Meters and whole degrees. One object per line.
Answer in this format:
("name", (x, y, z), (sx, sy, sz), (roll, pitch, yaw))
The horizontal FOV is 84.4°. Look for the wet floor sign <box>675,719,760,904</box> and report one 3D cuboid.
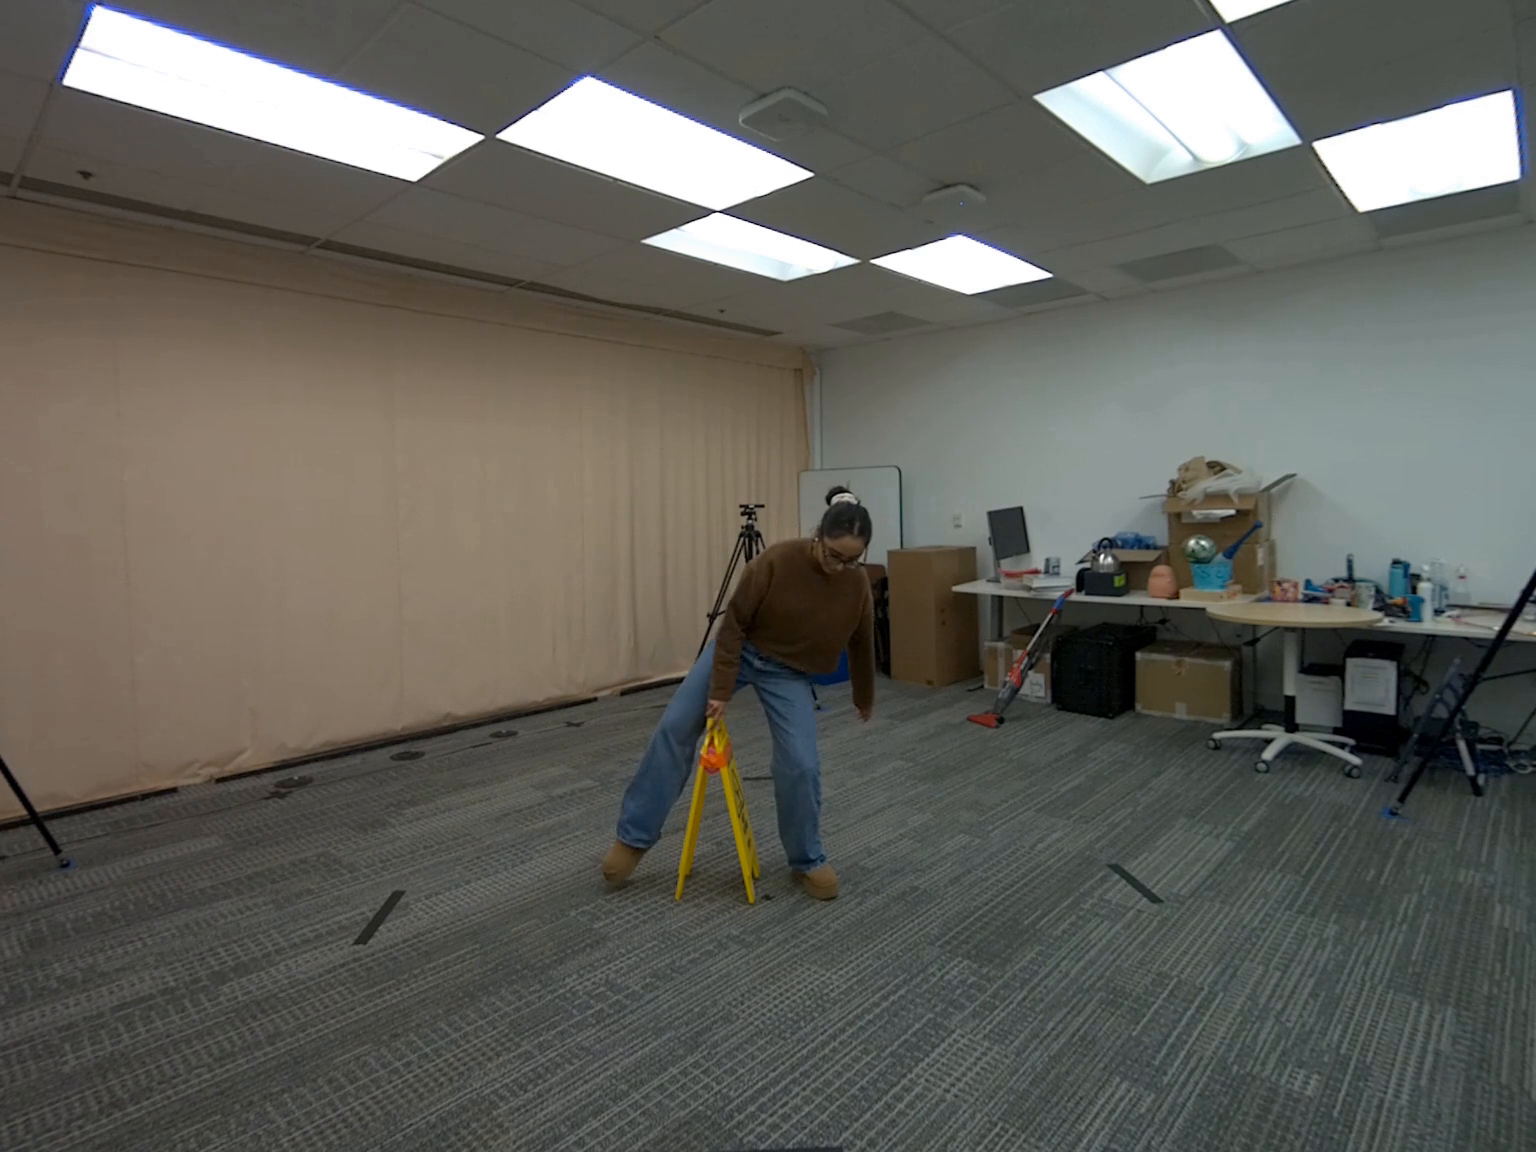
("wet floor sign", (-0.188, 0.827, 3.062), (0.292, 0.645, 0.280), (-1, 3, 7))
